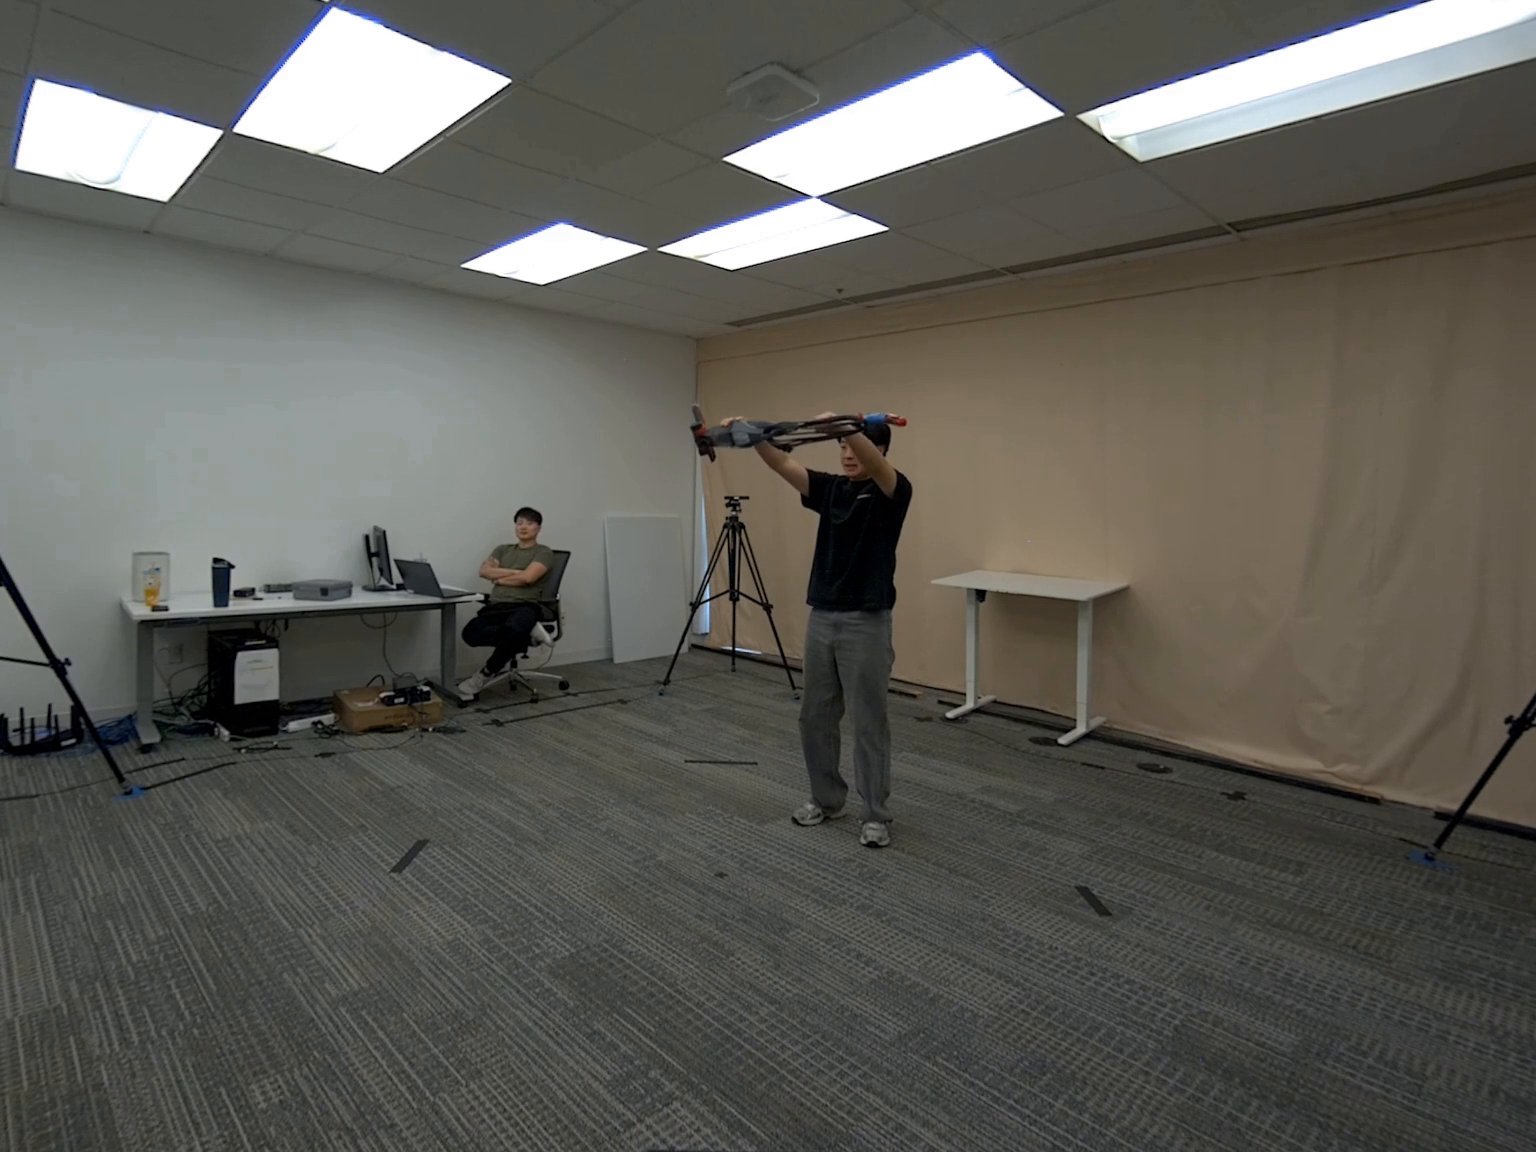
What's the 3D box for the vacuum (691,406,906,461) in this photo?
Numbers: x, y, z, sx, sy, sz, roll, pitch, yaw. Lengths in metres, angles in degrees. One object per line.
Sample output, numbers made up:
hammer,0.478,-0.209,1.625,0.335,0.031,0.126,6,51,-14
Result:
vacuum,0.075,-0.521,3.091,0.143,0.247,1.077,-42,30,-29
